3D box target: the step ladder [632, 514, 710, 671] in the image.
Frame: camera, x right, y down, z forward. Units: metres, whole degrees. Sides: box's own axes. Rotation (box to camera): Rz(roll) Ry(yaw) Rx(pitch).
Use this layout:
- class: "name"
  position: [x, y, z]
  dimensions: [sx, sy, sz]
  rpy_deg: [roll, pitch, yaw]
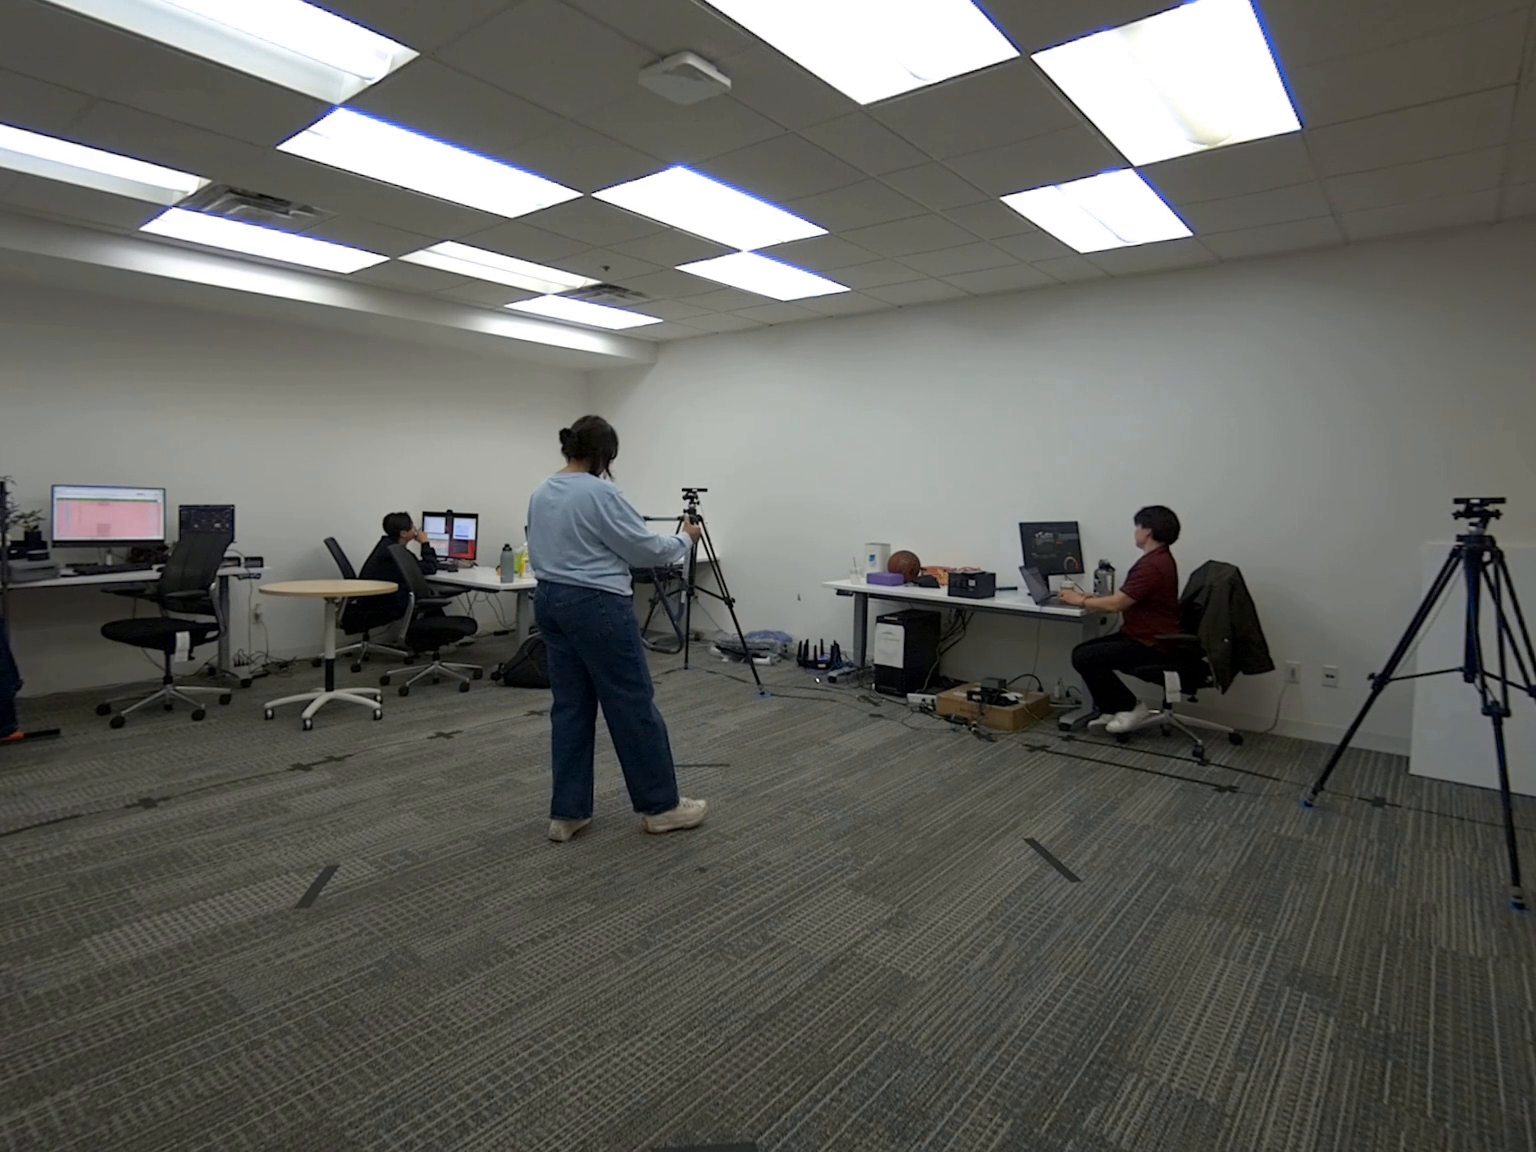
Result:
- class: "step ladder"
  position: [-0.558, 0.054, 3.721]
  dimensions: [0.340, 0.602, 0.445]
  rpy_deg: [-11, 9, -39]
